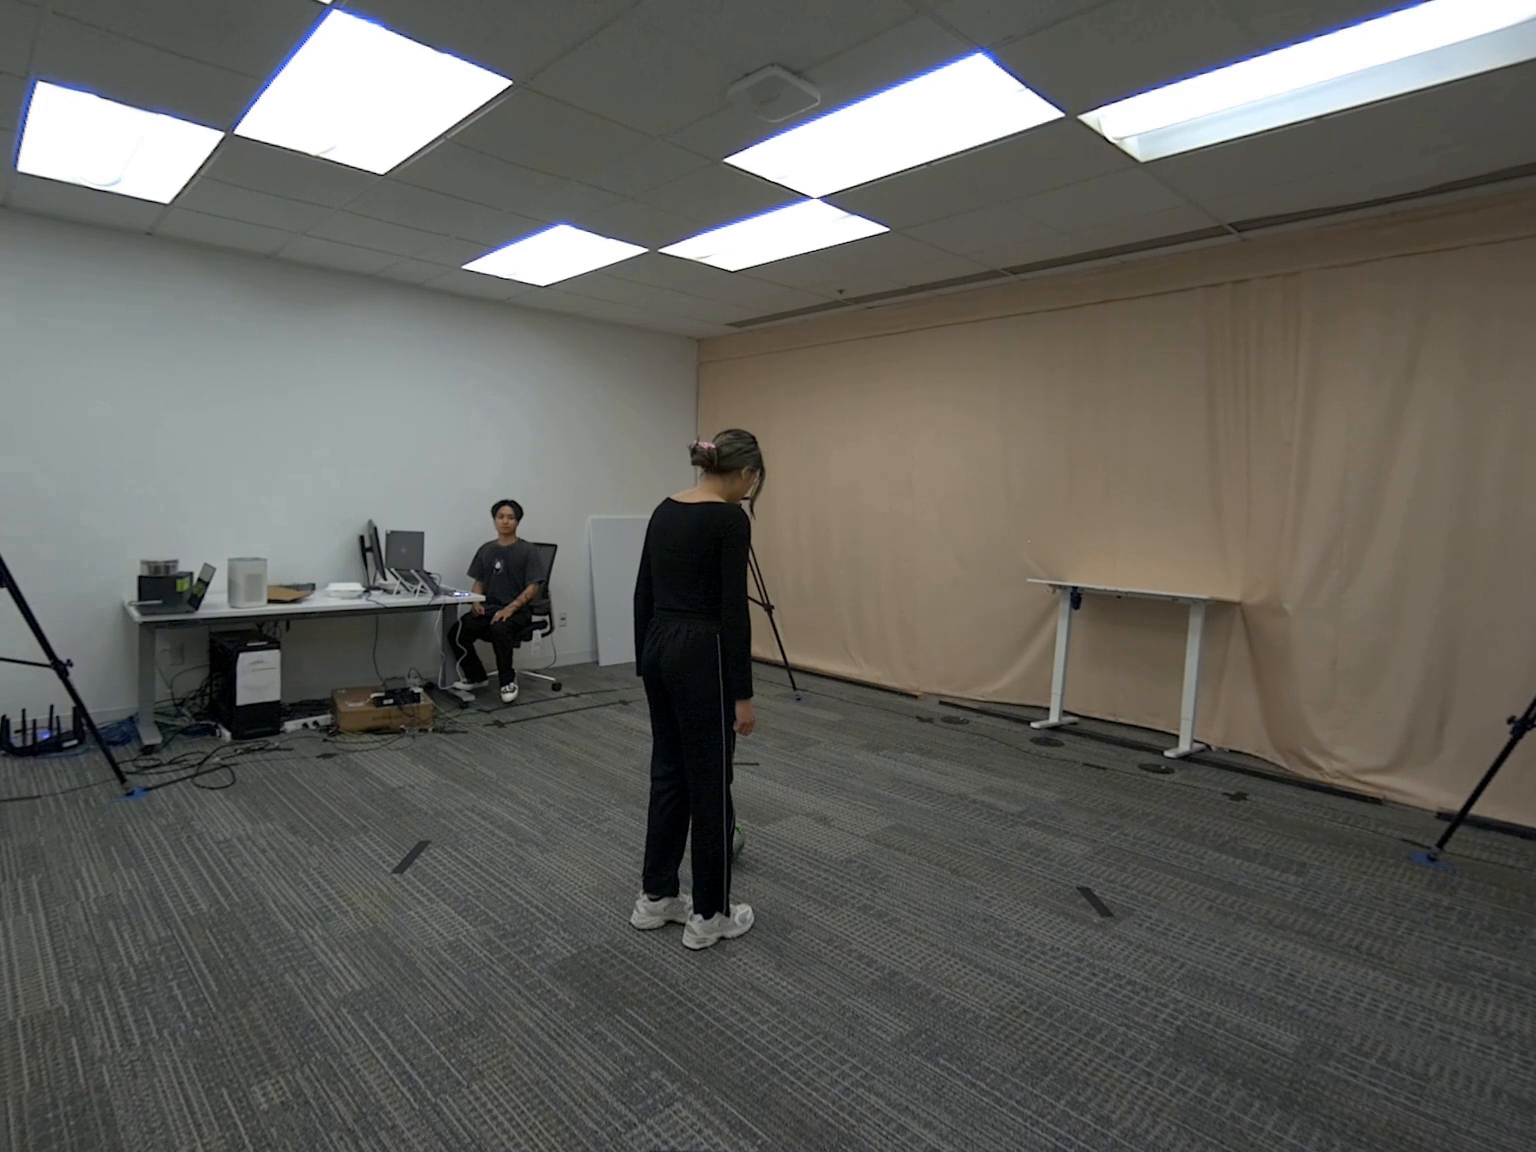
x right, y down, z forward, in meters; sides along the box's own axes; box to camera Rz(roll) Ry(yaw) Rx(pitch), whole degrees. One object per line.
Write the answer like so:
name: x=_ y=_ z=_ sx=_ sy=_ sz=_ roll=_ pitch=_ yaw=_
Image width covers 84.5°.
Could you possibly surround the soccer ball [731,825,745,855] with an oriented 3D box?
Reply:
soccer ball: x=-0.185 y=1.007 z=3.214 sx=0.187 sy=0.187 sz=0.188 roll=1 pitch=4 yaw=-1
